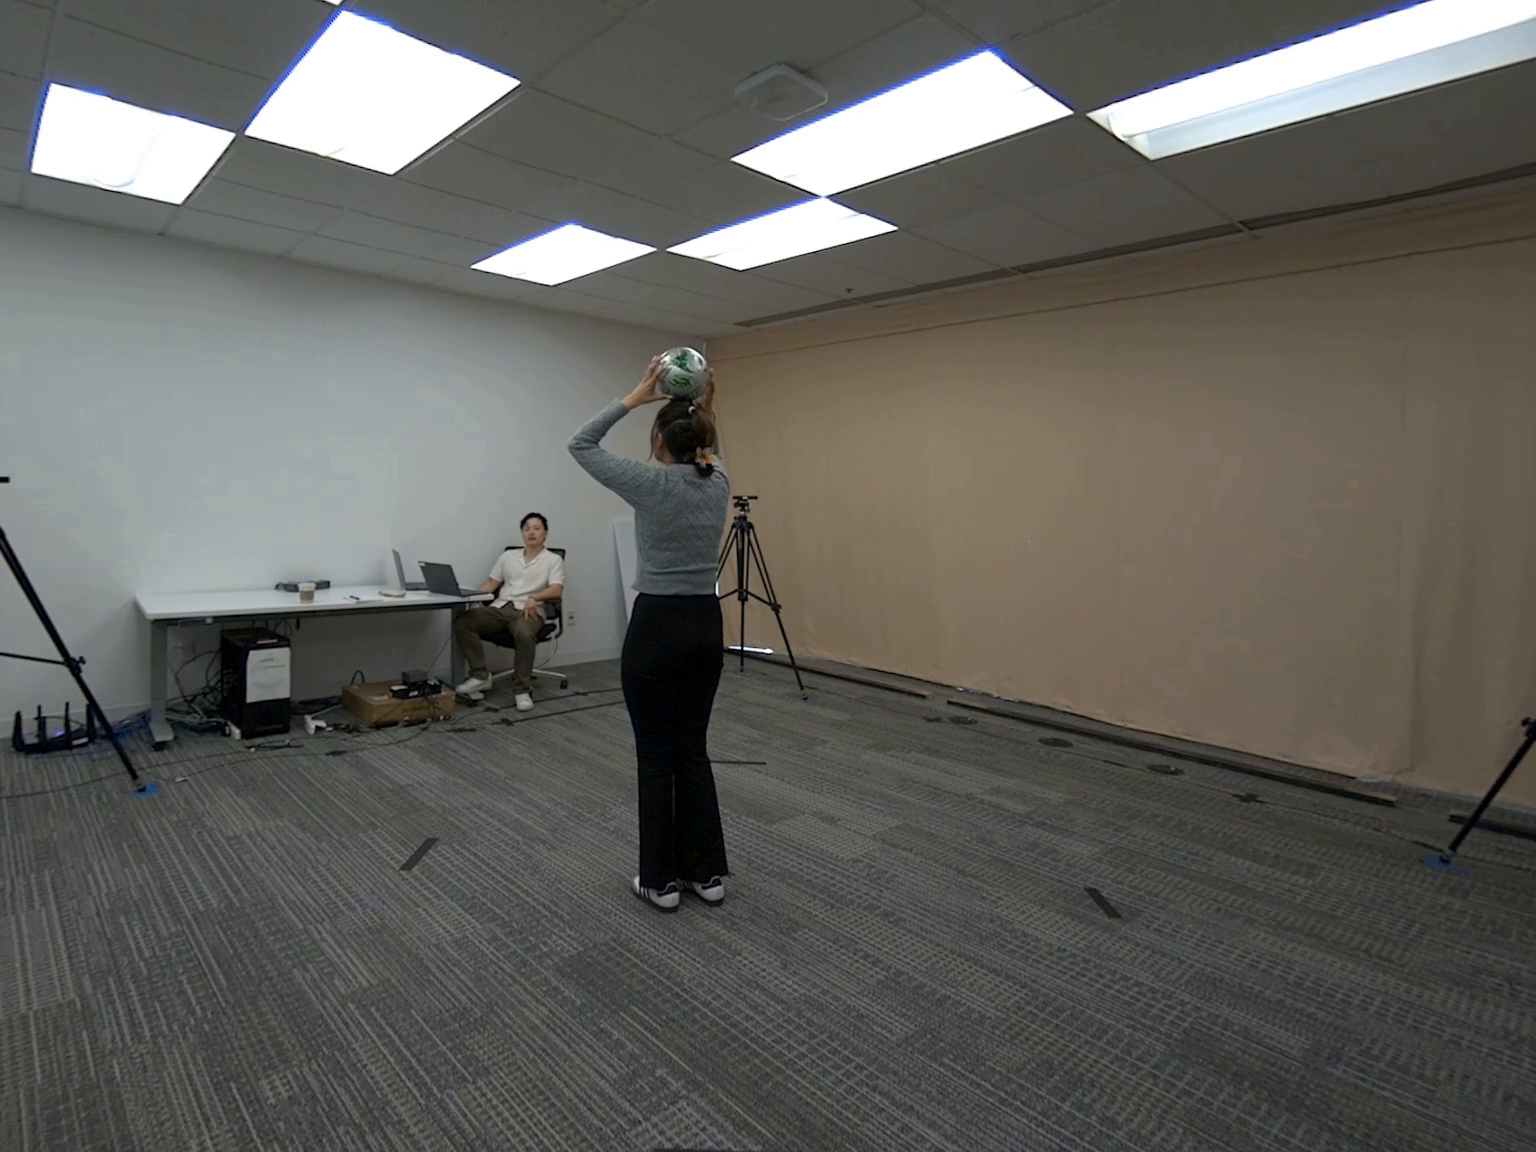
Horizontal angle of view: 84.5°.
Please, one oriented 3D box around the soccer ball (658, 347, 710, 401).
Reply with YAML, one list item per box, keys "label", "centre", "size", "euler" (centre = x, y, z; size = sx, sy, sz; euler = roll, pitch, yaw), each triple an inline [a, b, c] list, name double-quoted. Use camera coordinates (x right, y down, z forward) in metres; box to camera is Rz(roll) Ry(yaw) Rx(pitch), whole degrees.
- label: "soccer ball"
  centre: [-0.306, -0.681, 2.870]
  size: [0.187, 0.187, 0.188]
  euler: [1, 4, -1]
